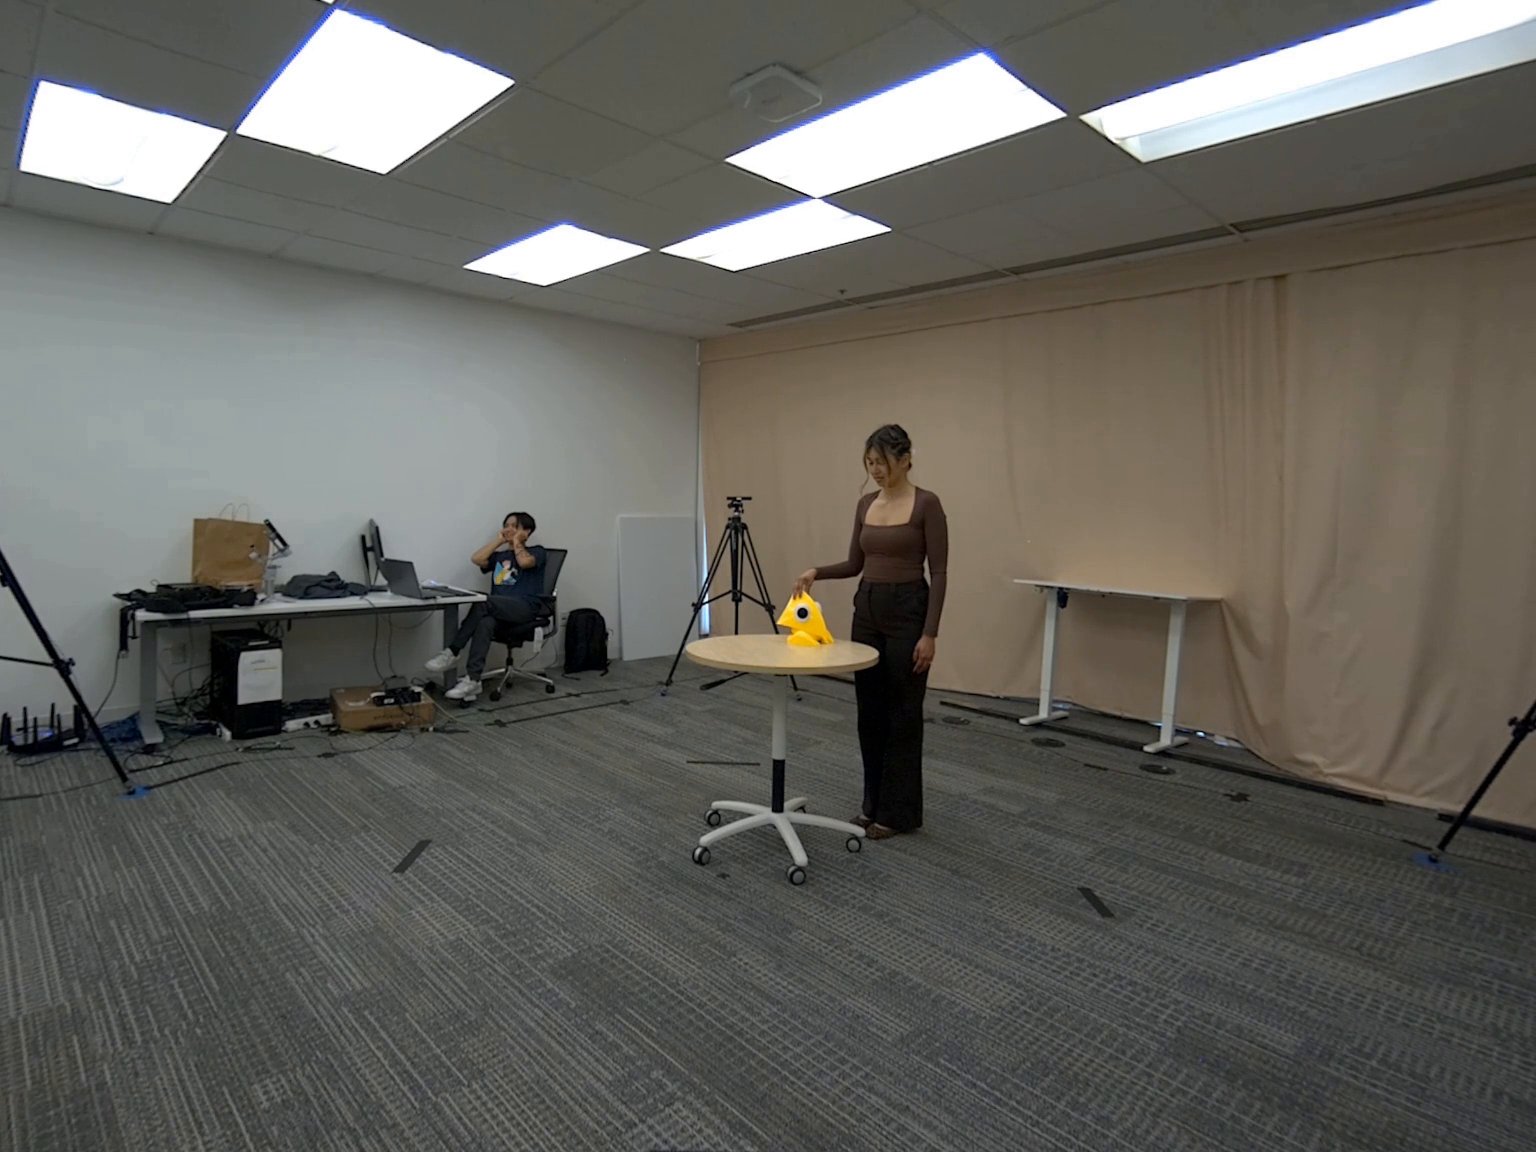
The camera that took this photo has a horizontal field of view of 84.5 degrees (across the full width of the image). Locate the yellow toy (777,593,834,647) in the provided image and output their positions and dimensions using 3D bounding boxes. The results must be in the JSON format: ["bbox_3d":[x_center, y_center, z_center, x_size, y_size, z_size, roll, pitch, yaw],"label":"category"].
[{"bbox_3d":[0.167,0.166,3.541,0.198,0.230,0.200,5,5,36],"label":"yellow toy"}]
